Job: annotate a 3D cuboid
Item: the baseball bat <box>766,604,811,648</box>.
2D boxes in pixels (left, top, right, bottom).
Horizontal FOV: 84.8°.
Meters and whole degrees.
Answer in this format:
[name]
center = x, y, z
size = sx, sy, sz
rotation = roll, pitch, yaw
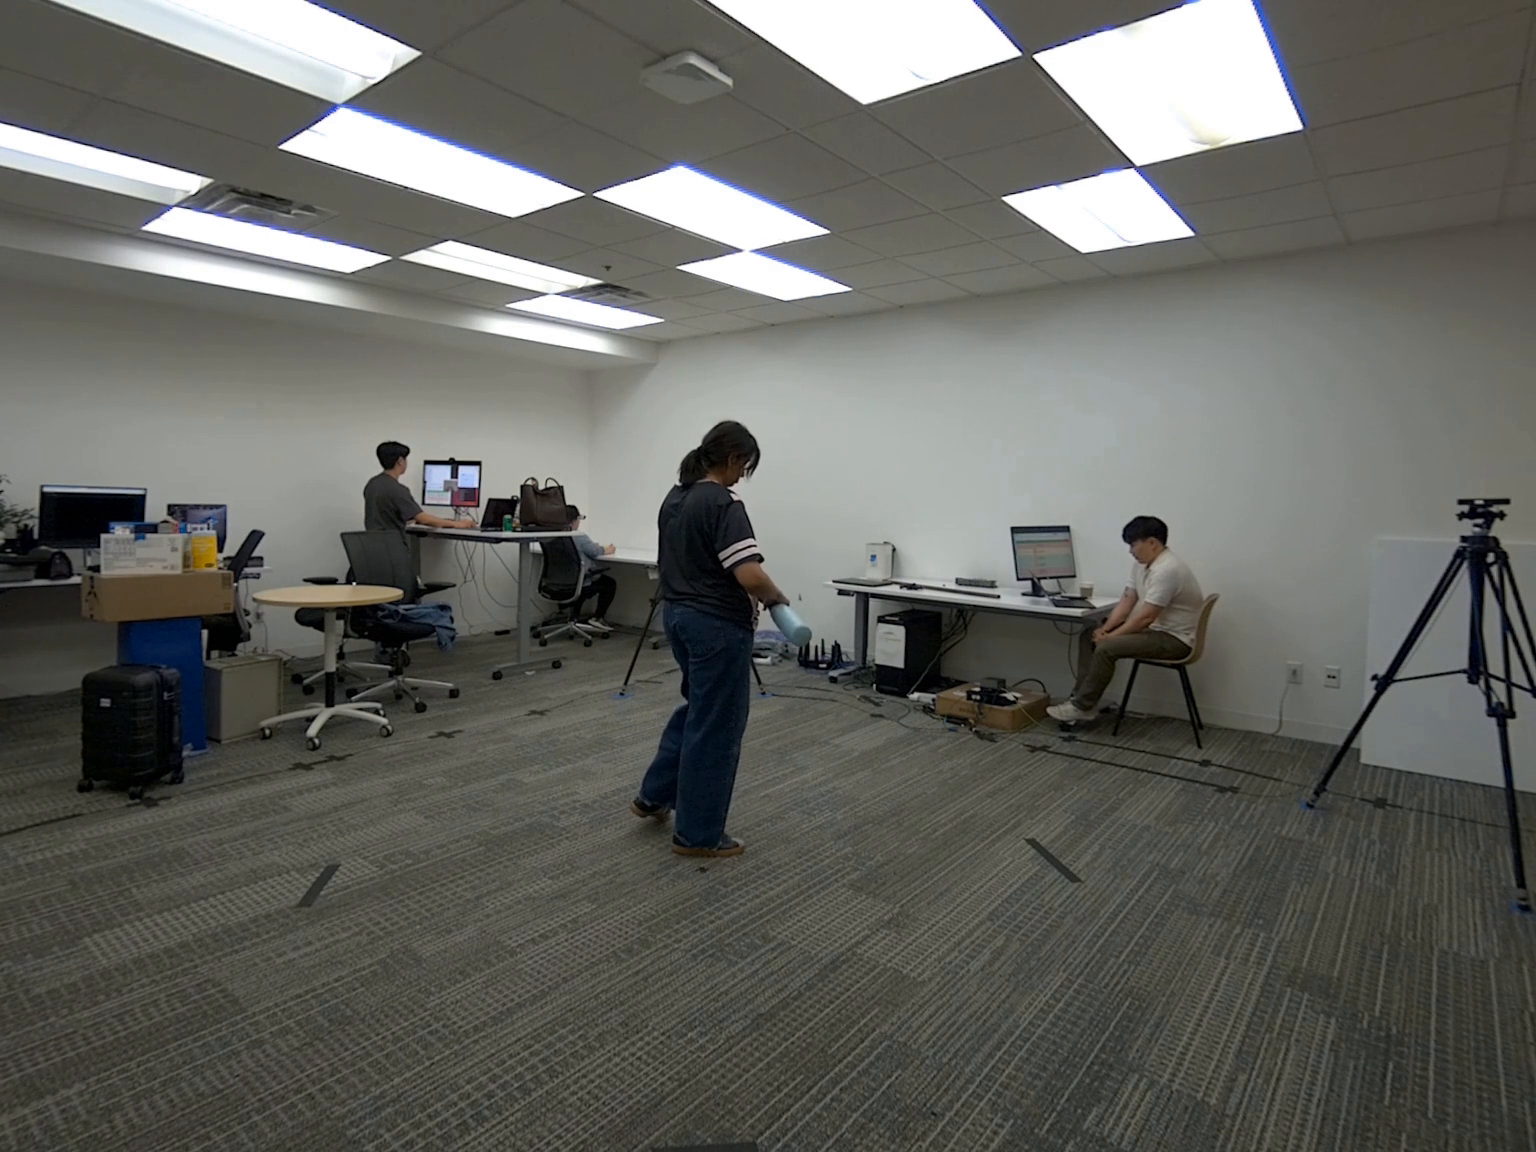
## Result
[baseball bat]
center = 0.036, 0.133, 3.260
size = 0.087, 0.088, 0.562
rotation = -1, 18, -22
